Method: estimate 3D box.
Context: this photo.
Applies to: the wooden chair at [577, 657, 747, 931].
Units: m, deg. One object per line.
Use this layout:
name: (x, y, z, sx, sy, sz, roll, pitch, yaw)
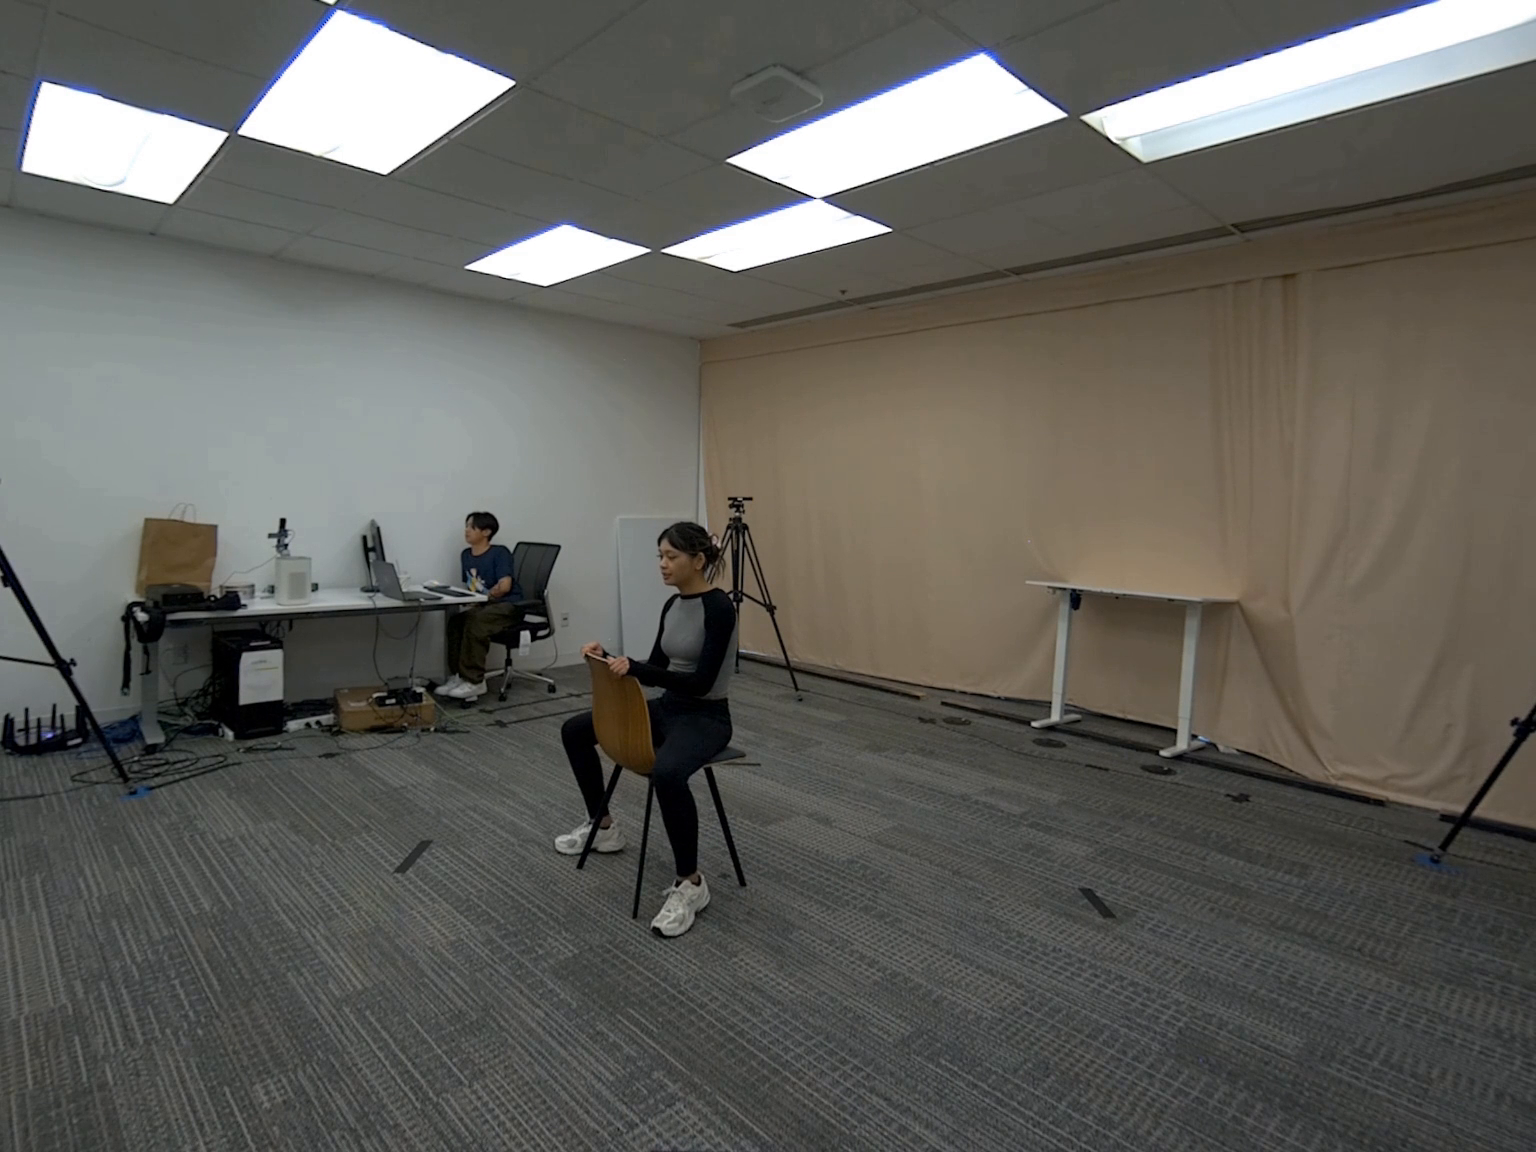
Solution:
wooden chair: (-0.380, 0.679, 3.057, 0.513, 0.873, 0.490, -7, 8, -35)
